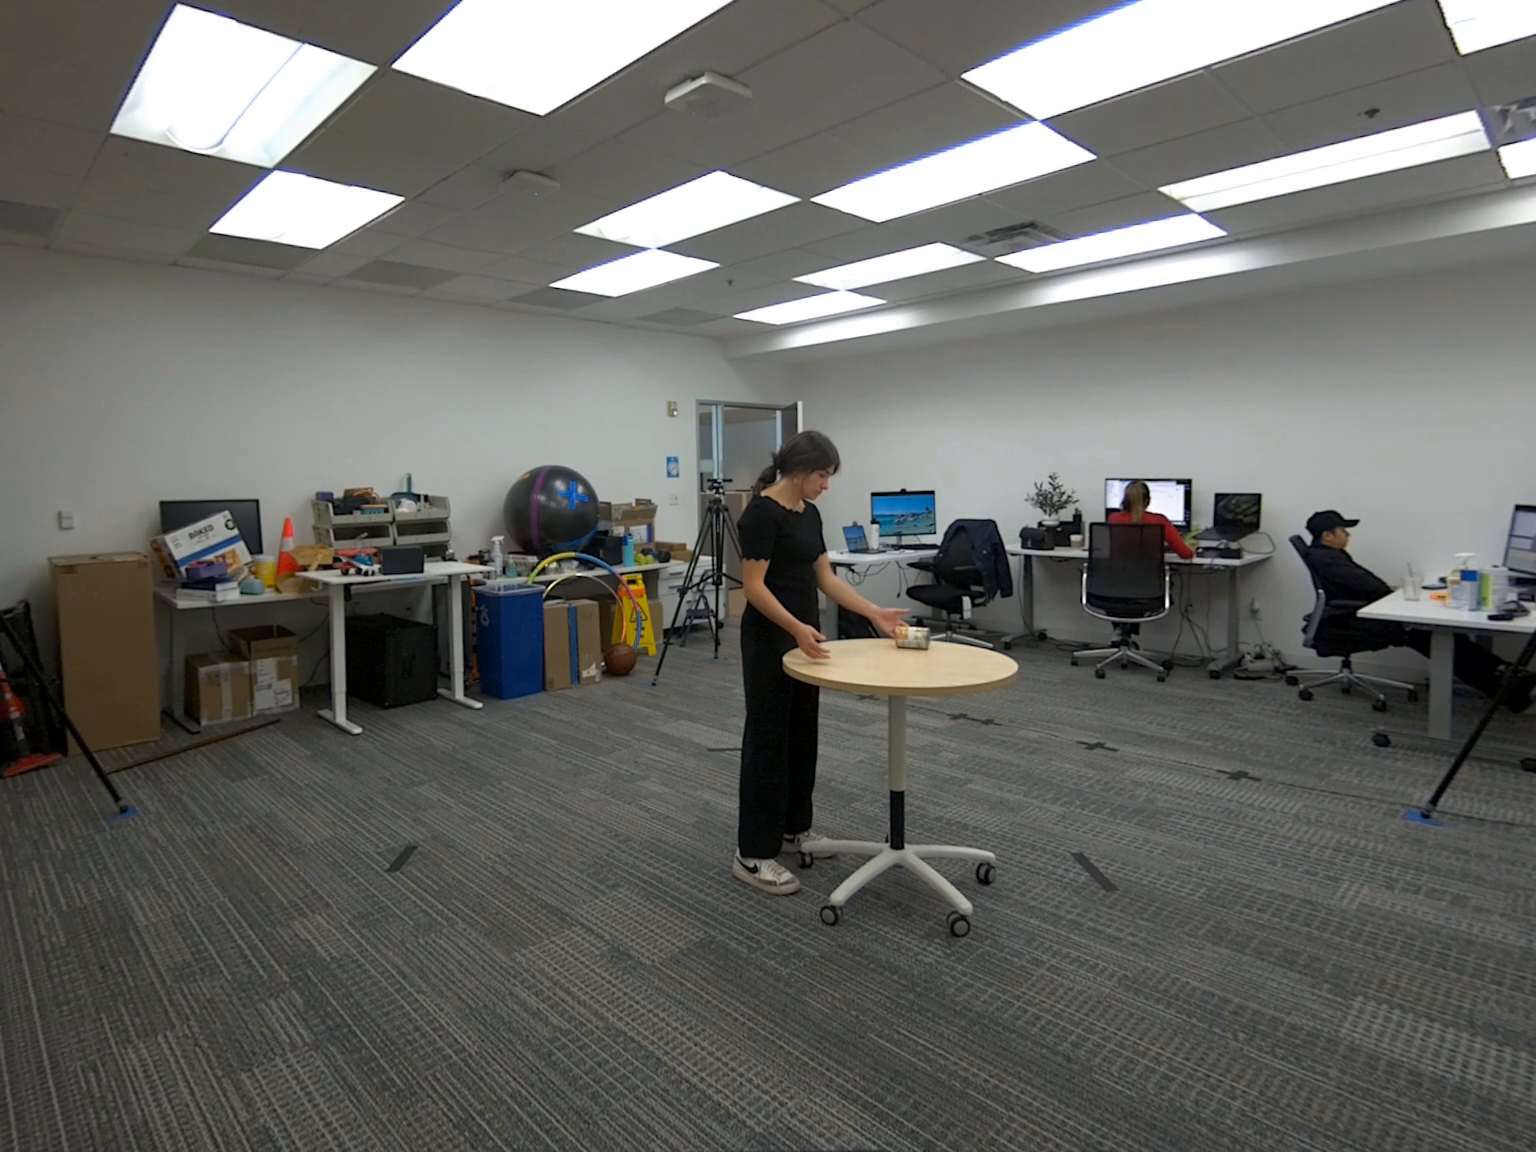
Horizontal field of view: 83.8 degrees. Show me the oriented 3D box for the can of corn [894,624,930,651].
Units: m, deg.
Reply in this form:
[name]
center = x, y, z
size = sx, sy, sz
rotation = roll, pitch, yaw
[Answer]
[can of corn]
center = 0.511, 0.220, 3.051
size = 0.113, 0.074, 0.073
rotation = 1, 5, 19
